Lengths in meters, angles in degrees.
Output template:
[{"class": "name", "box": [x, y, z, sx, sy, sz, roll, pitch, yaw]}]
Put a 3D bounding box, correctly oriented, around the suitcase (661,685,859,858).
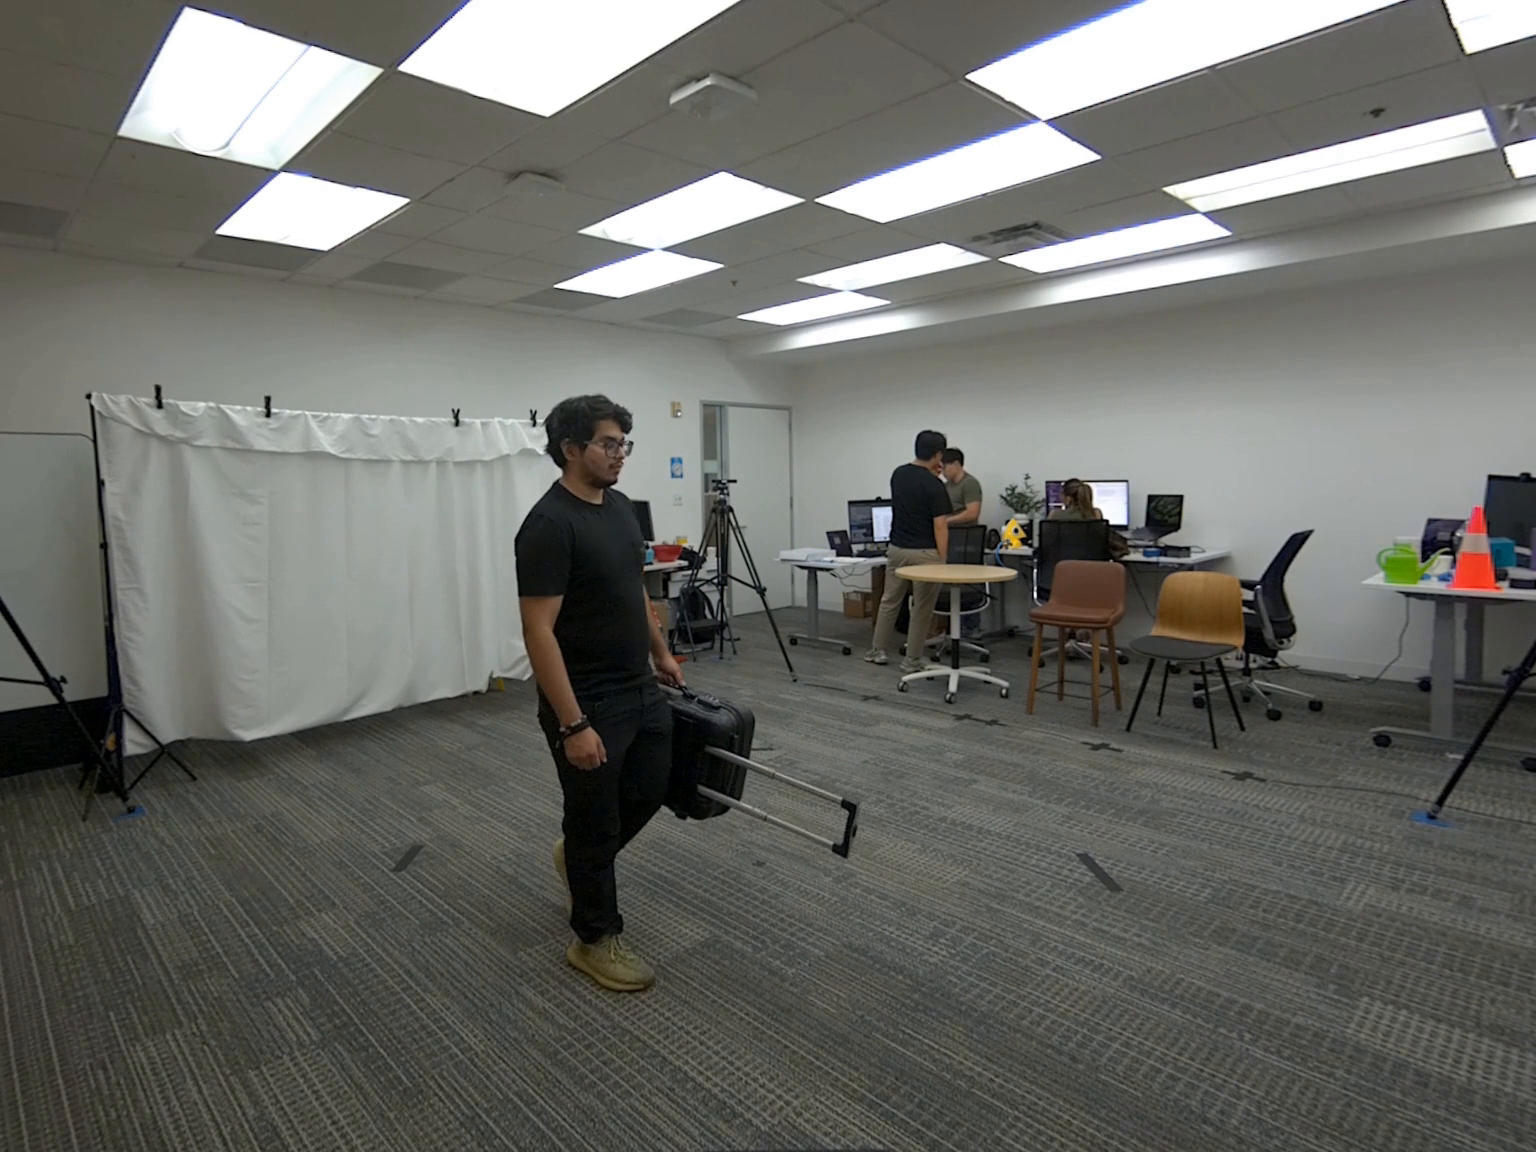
[{"class": "suitcase", "box": [-0.140, 0.586, 2.696, 1.007, 0.383, 0.250, 13, 5, 28]}]
